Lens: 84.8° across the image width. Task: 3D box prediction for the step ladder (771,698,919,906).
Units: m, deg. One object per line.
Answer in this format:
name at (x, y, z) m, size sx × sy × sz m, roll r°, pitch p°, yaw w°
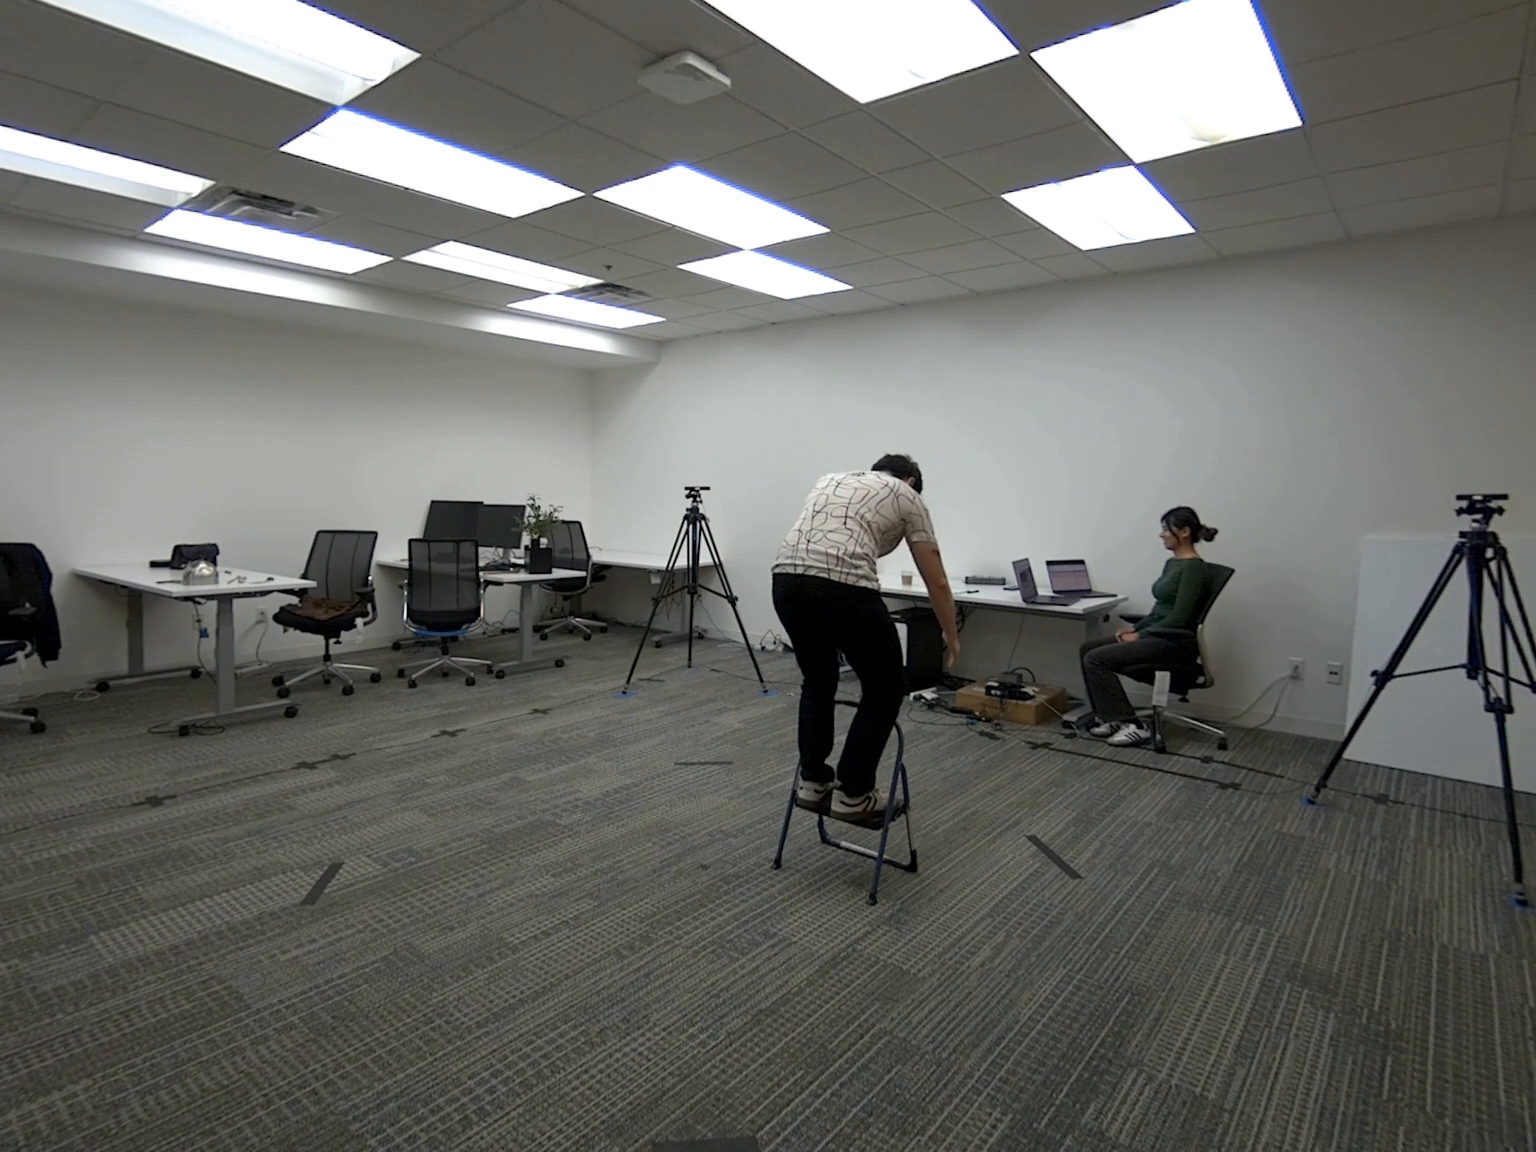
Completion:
step ladder at (0.284, 0.769, 3.106) m, size 0.445 × 0.605 × 0.339 m, roll 4°, pitch 3°, yaw 37°
